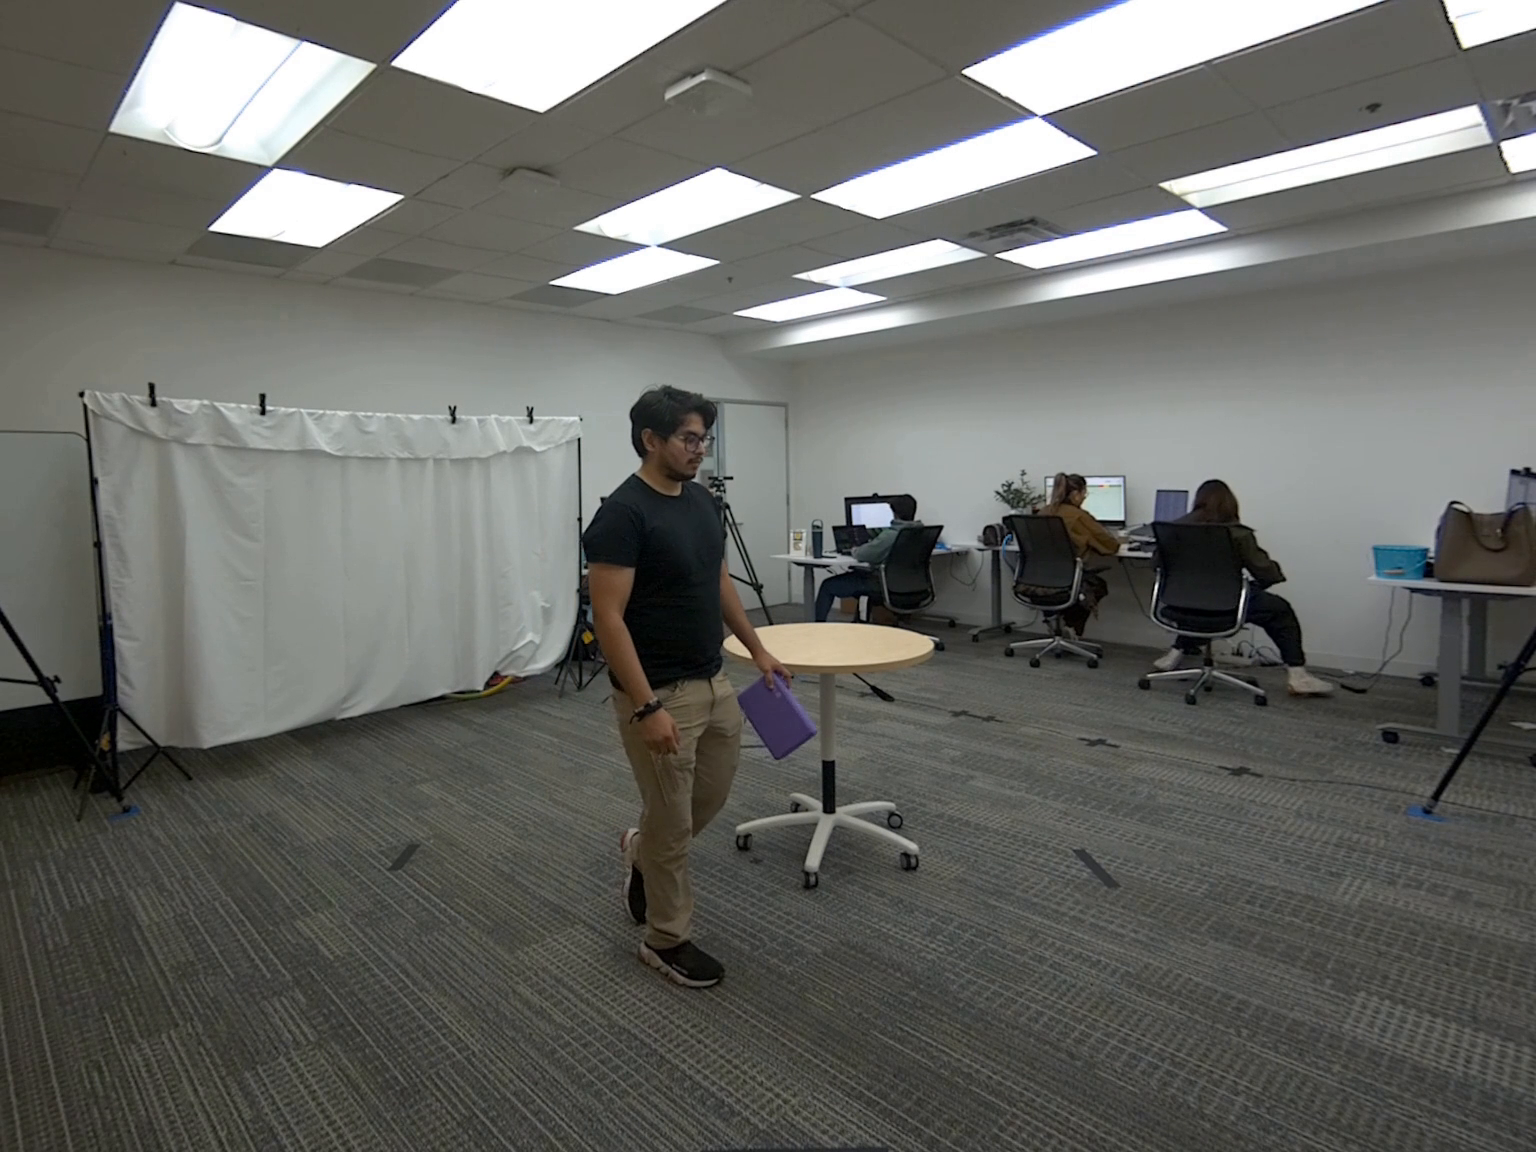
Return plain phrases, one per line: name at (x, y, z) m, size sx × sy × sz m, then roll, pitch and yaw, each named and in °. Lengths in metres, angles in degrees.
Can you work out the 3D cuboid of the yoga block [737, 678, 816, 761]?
yoga block at (0.020, 0.427, 2.599) m, size 0.149 × 0.235 × 0.074 m, roll -37°, pitch -18°, yaw 7°
